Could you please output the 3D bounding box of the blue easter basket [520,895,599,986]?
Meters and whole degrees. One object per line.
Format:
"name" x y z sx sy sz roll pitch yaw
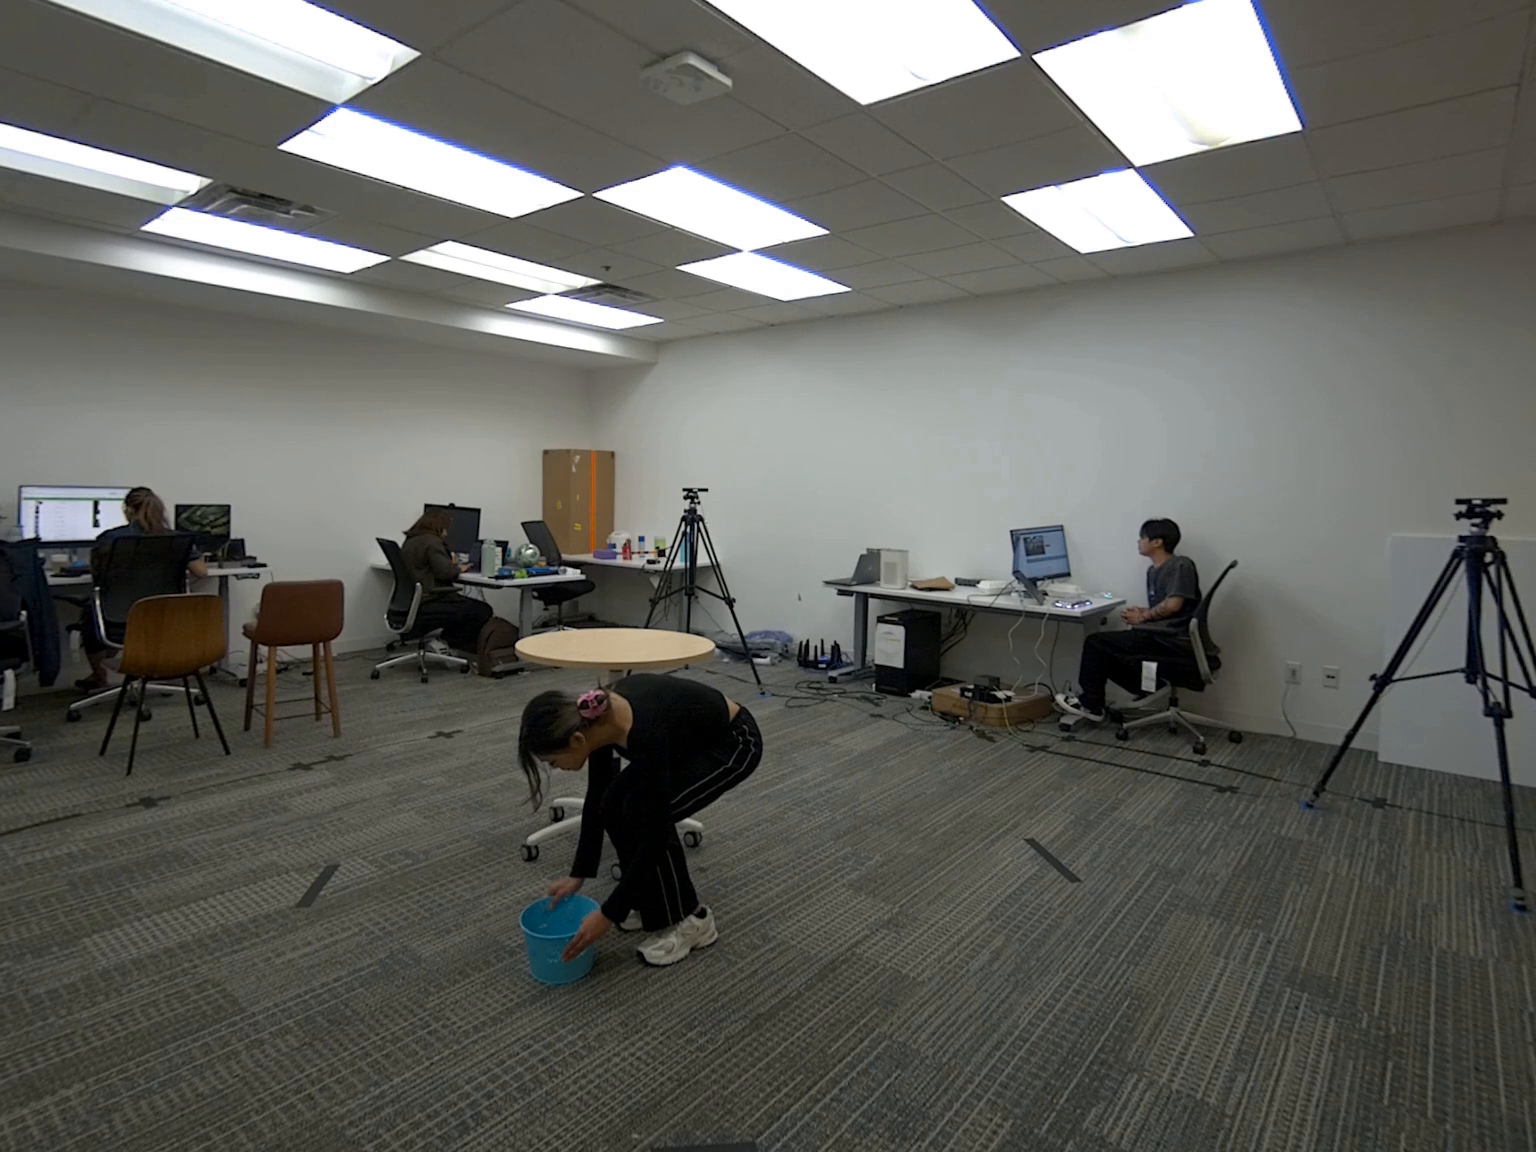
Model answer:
"blue easter basket" -0.593 1.048 2.454 0.243 0.155 0.245 1 6 -2
